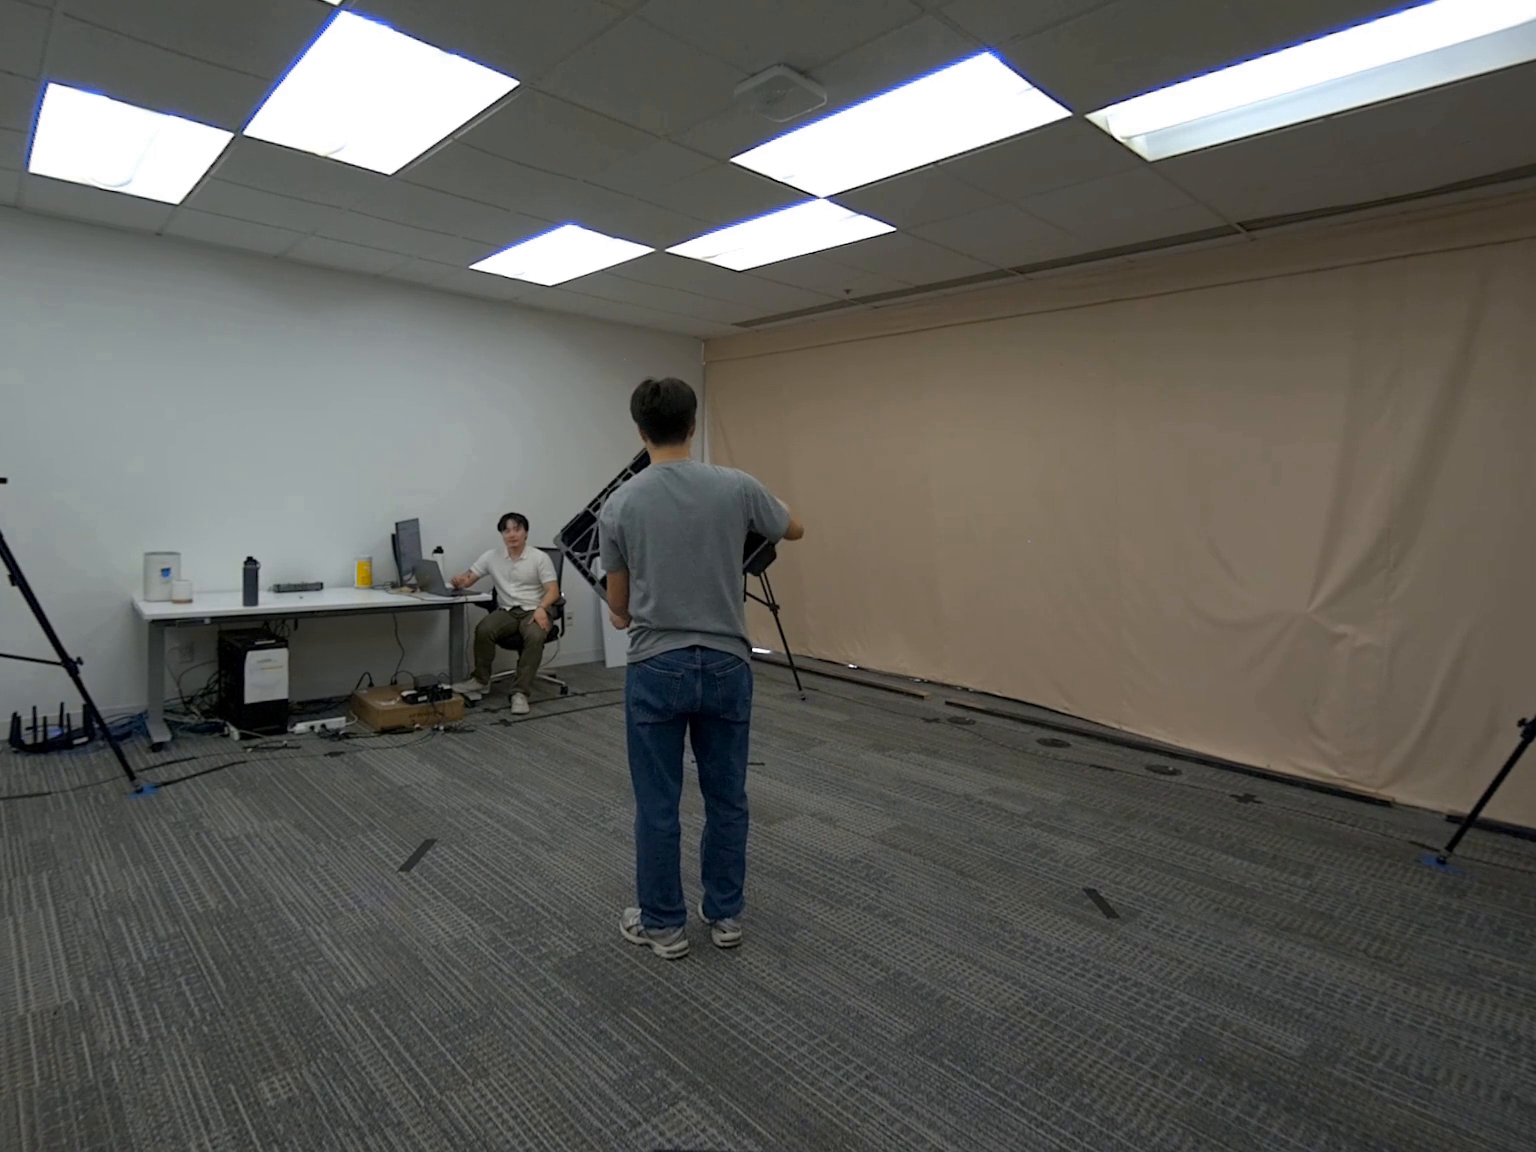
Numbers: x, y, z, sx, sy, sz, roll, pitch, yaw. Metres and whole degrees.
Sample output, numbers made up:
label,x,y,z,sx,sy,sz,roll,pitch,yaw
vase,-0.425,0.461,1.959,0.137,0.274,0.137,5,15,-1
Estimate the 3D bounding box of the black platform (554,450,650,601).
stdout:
label,x,y,z,sx,sy,sz,roll,pitch,yaw
black platform,-0.376,-0.116,3.082,0.832,0.605,0.139,41,-6,40
